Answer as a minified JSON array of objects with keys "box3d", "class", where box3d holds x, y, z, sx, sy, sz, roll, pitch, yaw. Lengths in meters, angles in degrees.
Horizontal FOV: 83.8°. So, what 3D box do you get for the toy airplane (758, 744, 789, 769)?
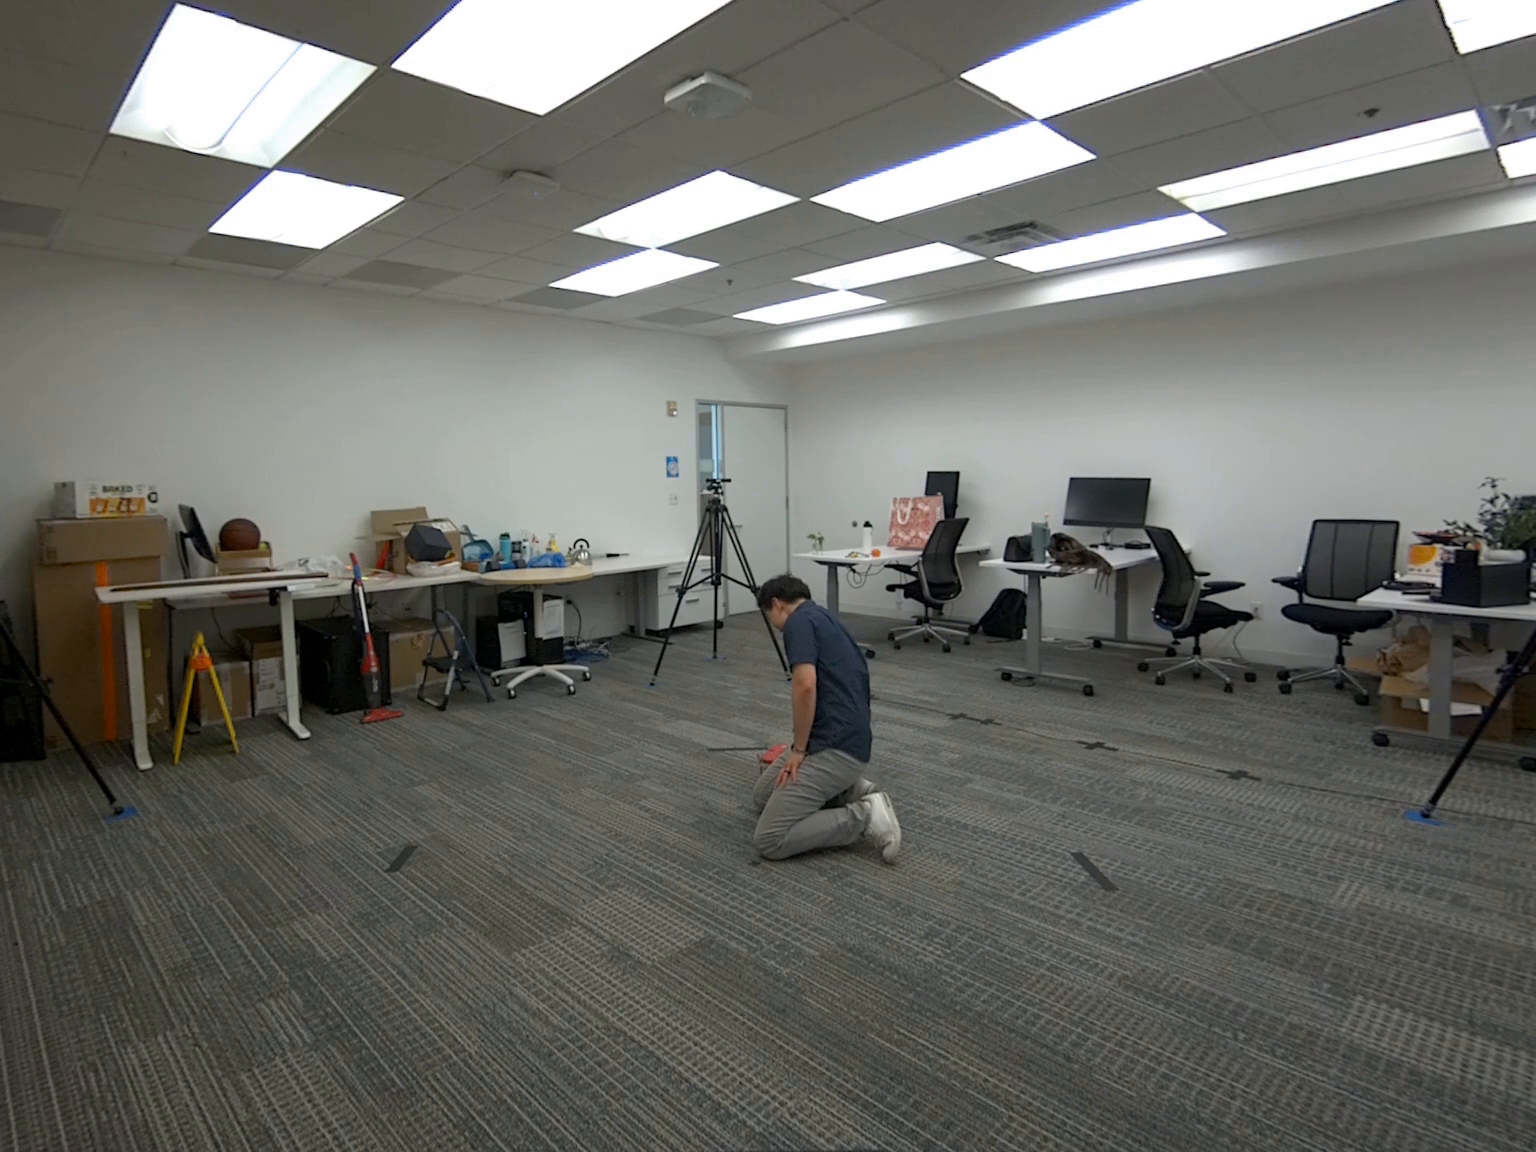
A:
[{"box3d":[0.095,0.859,3.903,0.258,0.157,0.252,-16,-1,-7],"class":"toy airplane"}]
